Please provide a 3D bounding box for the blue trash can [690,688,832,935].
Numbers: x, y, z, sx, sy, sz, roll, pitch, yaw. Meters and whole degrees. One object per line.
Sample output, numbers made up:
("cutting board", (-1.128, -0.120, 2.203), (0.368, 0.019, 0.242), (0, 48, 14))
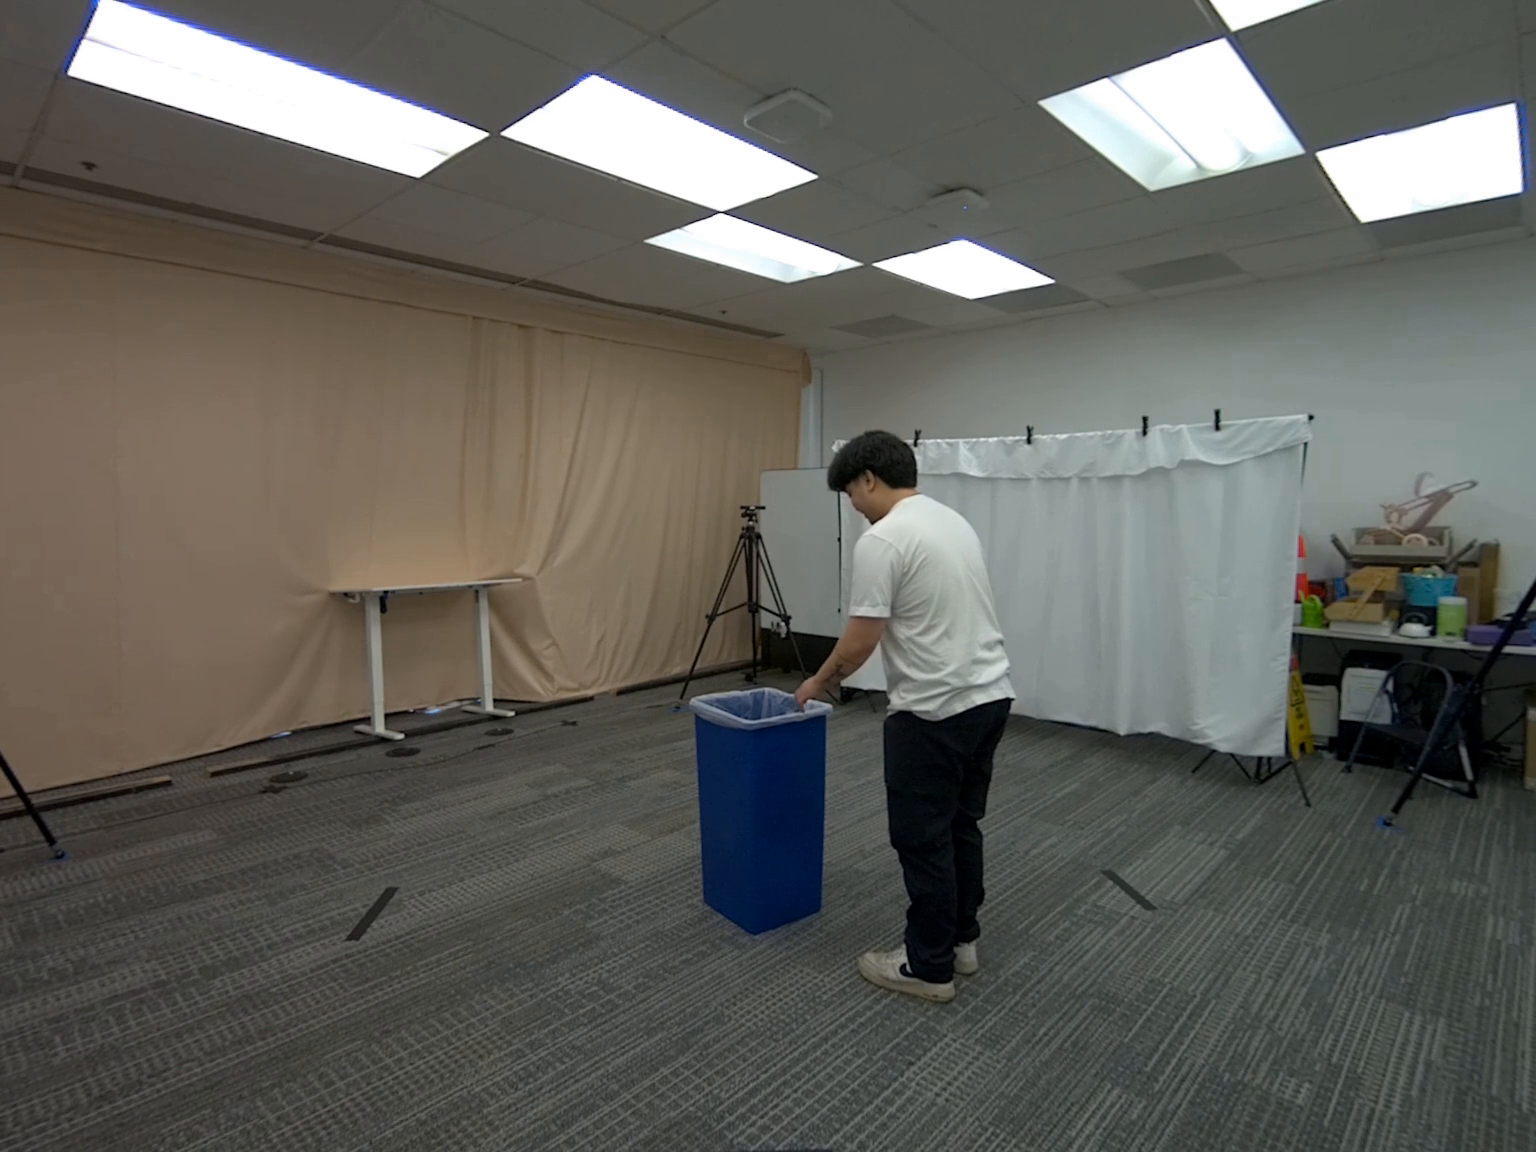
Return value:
("blue trash can", (-0.027, 0.791, 2.906), (0.363, 0.712, 0.390), (-2, 4, -37))
